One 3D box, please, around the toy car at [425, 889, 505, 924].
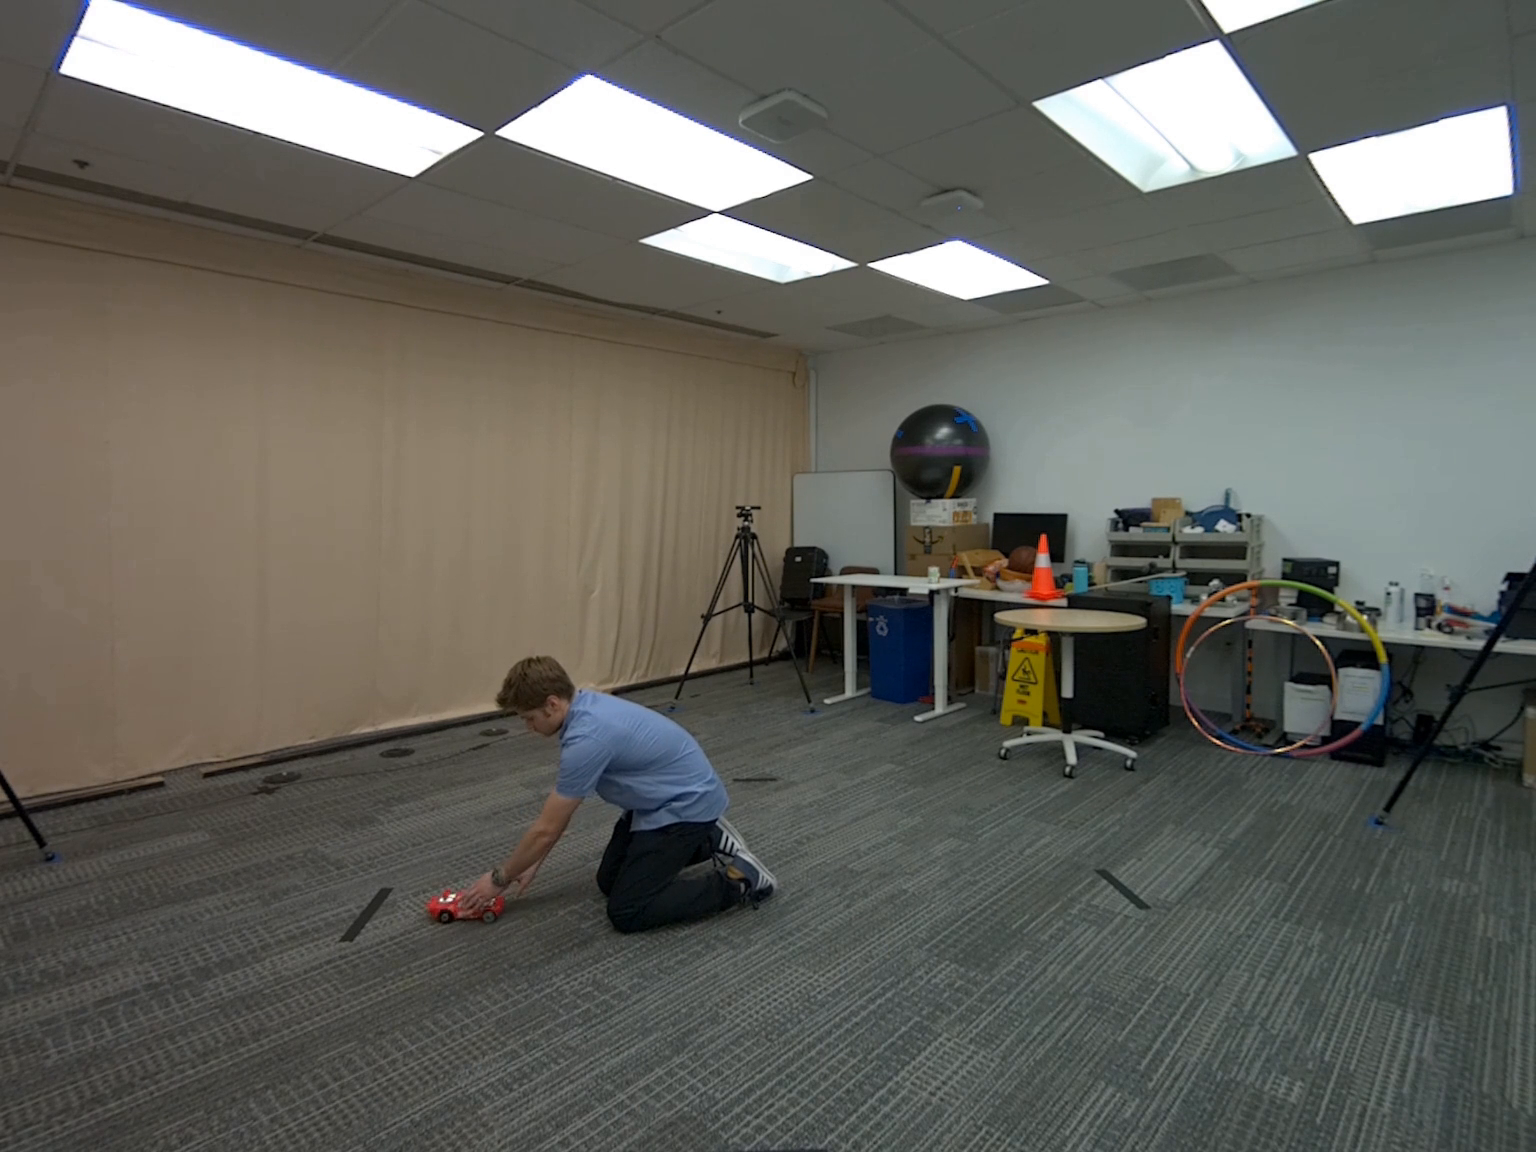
[{"bbox_3d":[-1.034,1.137,2.874,0.253,0.083,0.131,12,2,-6],"label":"toy car"}]
